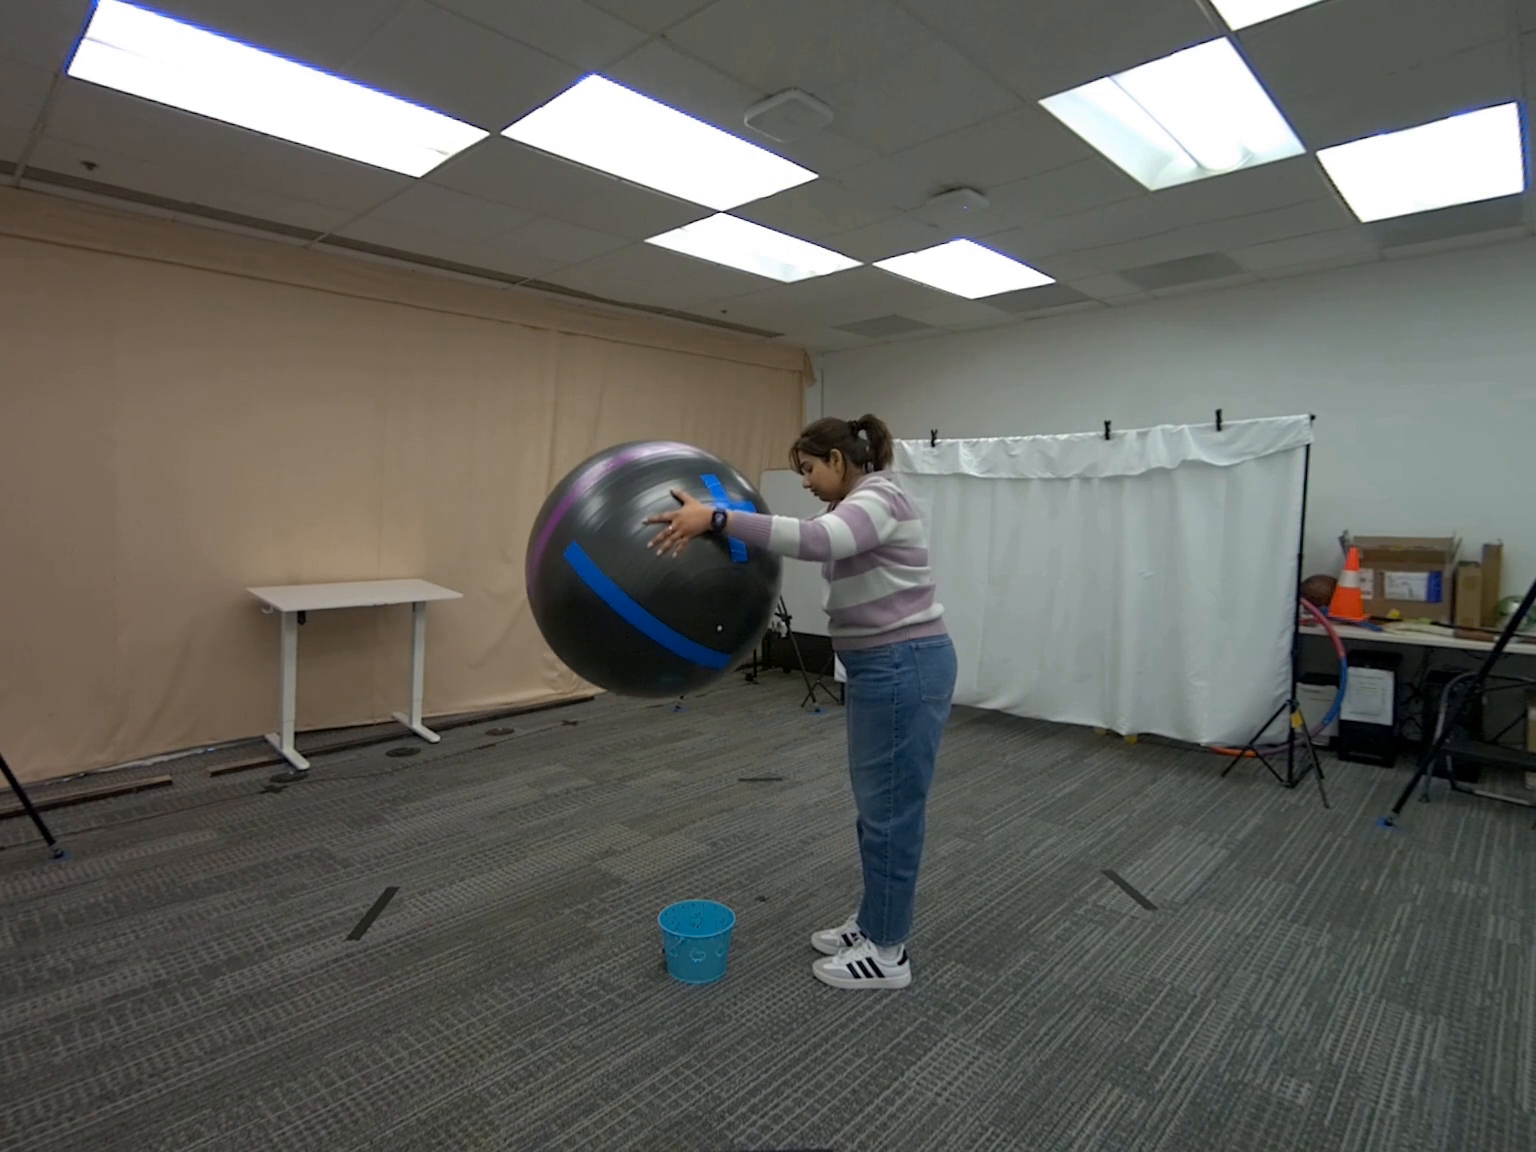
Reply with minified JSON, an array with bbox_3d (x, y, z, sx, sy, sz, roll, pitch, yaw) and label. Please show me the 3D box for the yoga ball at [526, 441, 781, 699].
[{"bbox_3d":[-0.332,-0.020,2.498,0.757,0.756,0.761,0,4,-2],"label":"yoga ball"}]
